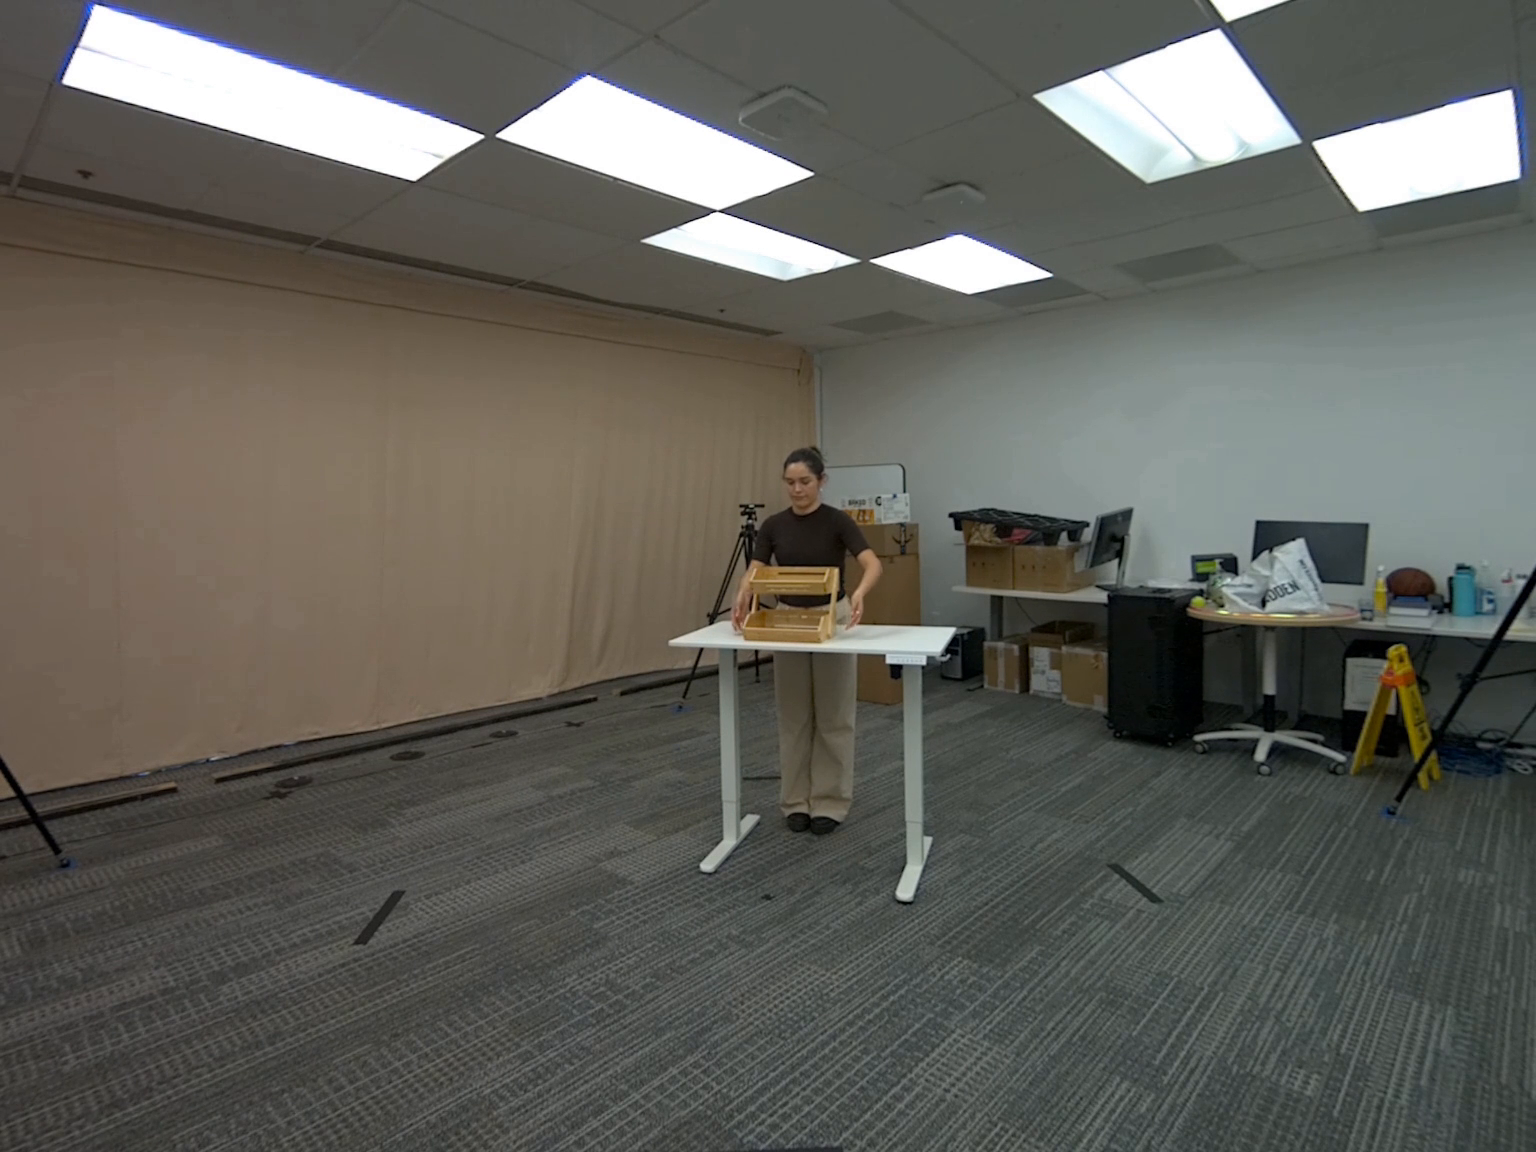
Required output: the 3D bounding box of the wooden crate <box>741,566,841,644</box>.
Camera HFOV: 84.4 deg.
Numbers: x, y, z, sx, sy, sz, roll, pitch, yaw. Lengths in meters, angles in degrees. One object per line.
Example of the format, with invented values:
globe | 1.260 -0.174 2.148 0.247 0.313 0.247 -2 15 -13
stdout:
wooden crate | 0.096 0.102 3.236 0.332 0.273 0.296 1 3 21
